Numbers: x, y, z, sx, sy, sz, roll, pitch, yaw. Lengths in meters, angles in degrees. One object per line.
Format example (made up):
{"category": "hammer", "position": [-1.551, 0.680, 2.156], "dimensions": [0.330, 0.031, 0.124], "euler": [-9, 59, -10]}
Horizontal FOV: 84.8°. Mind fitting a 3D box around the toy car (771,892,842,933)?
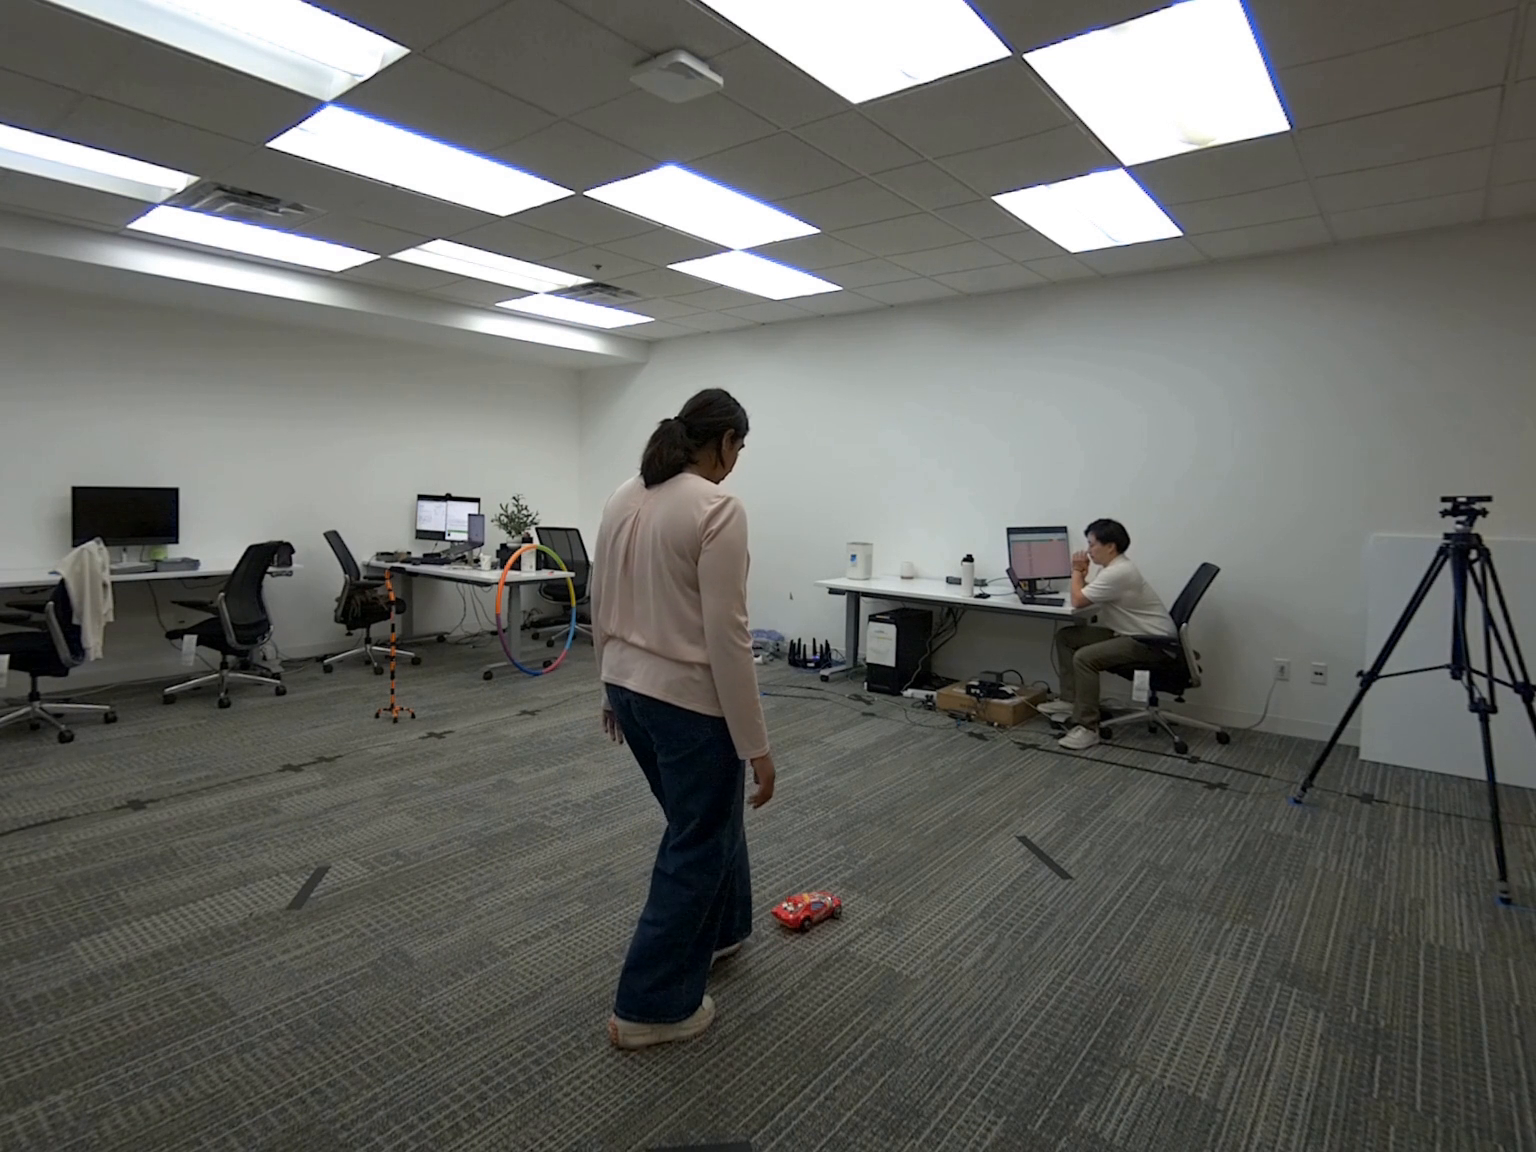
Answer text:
{"category": "toy car", "position": [0.118, 1.080, 2.742], "dimensions": [0.245, 0.083, 0.135], "euler": [12, -3, -40]}
